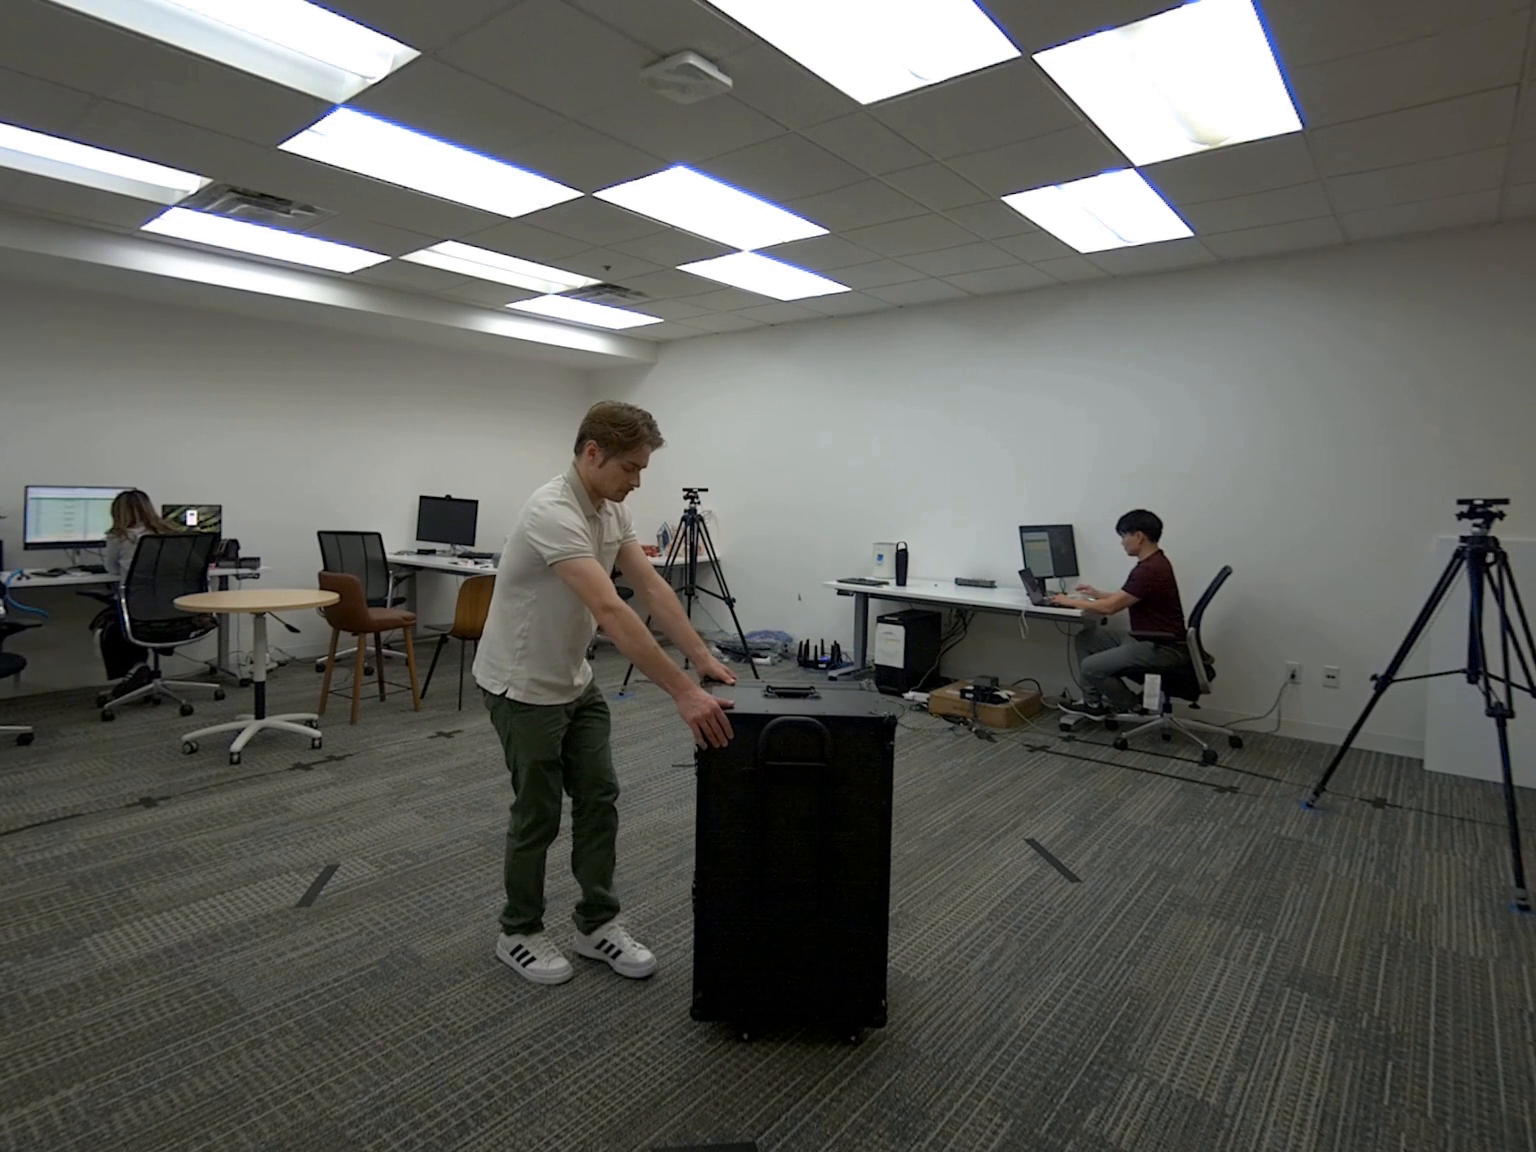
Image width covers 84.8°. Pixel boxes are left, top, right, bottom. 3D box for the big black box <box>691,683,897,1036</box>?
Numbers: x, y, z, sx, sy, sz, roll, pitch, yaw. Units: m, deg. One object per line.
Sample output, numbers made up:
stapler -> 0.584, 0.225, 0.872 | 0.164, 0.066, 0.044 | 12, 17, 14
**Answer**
big black box -> 0.054, 0.740, 2.251 | 0.523, 0.865, 0.387 | 1, 4, -1
